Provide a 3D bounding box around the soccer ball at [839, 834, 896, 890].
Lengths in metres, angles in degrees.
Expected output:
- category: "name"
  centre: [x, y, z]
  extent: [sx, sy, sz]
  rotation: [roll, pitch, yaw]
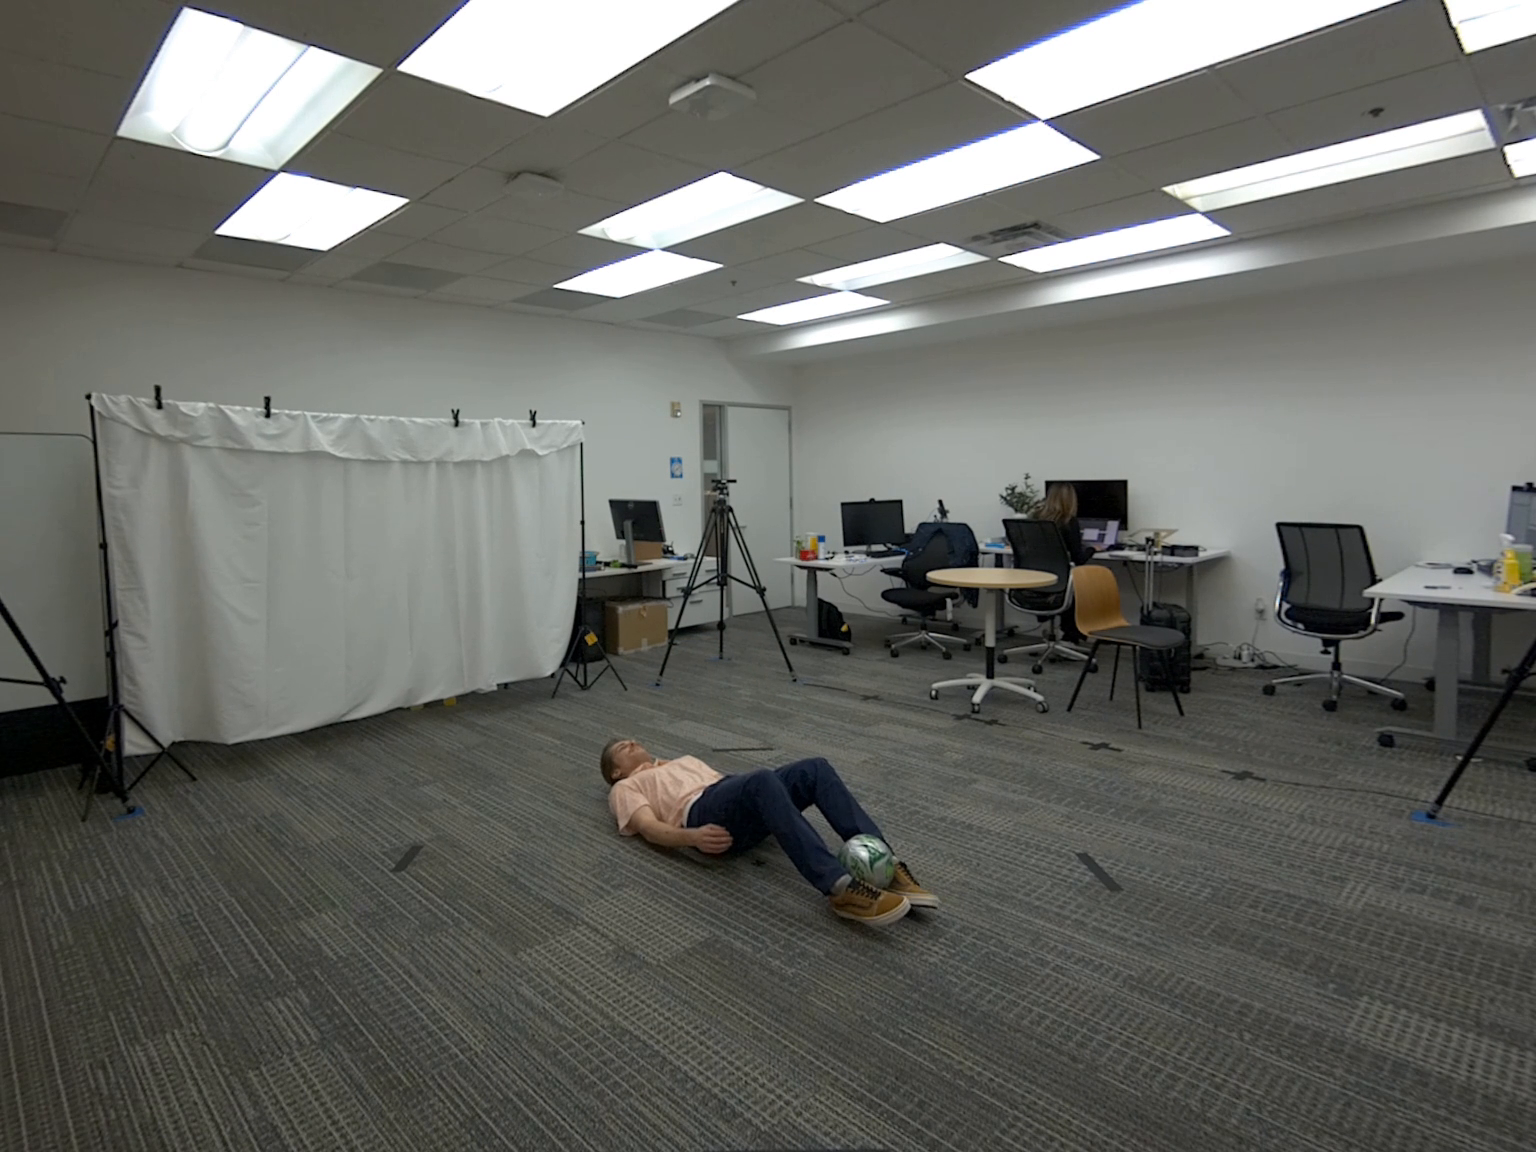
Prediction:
- category: "soccer ball"
  centre: [0.301, 0.931, 2.761]
  extent: [0.187, 0.187, 0.188]
  rotation: [-1, 5, -2]
